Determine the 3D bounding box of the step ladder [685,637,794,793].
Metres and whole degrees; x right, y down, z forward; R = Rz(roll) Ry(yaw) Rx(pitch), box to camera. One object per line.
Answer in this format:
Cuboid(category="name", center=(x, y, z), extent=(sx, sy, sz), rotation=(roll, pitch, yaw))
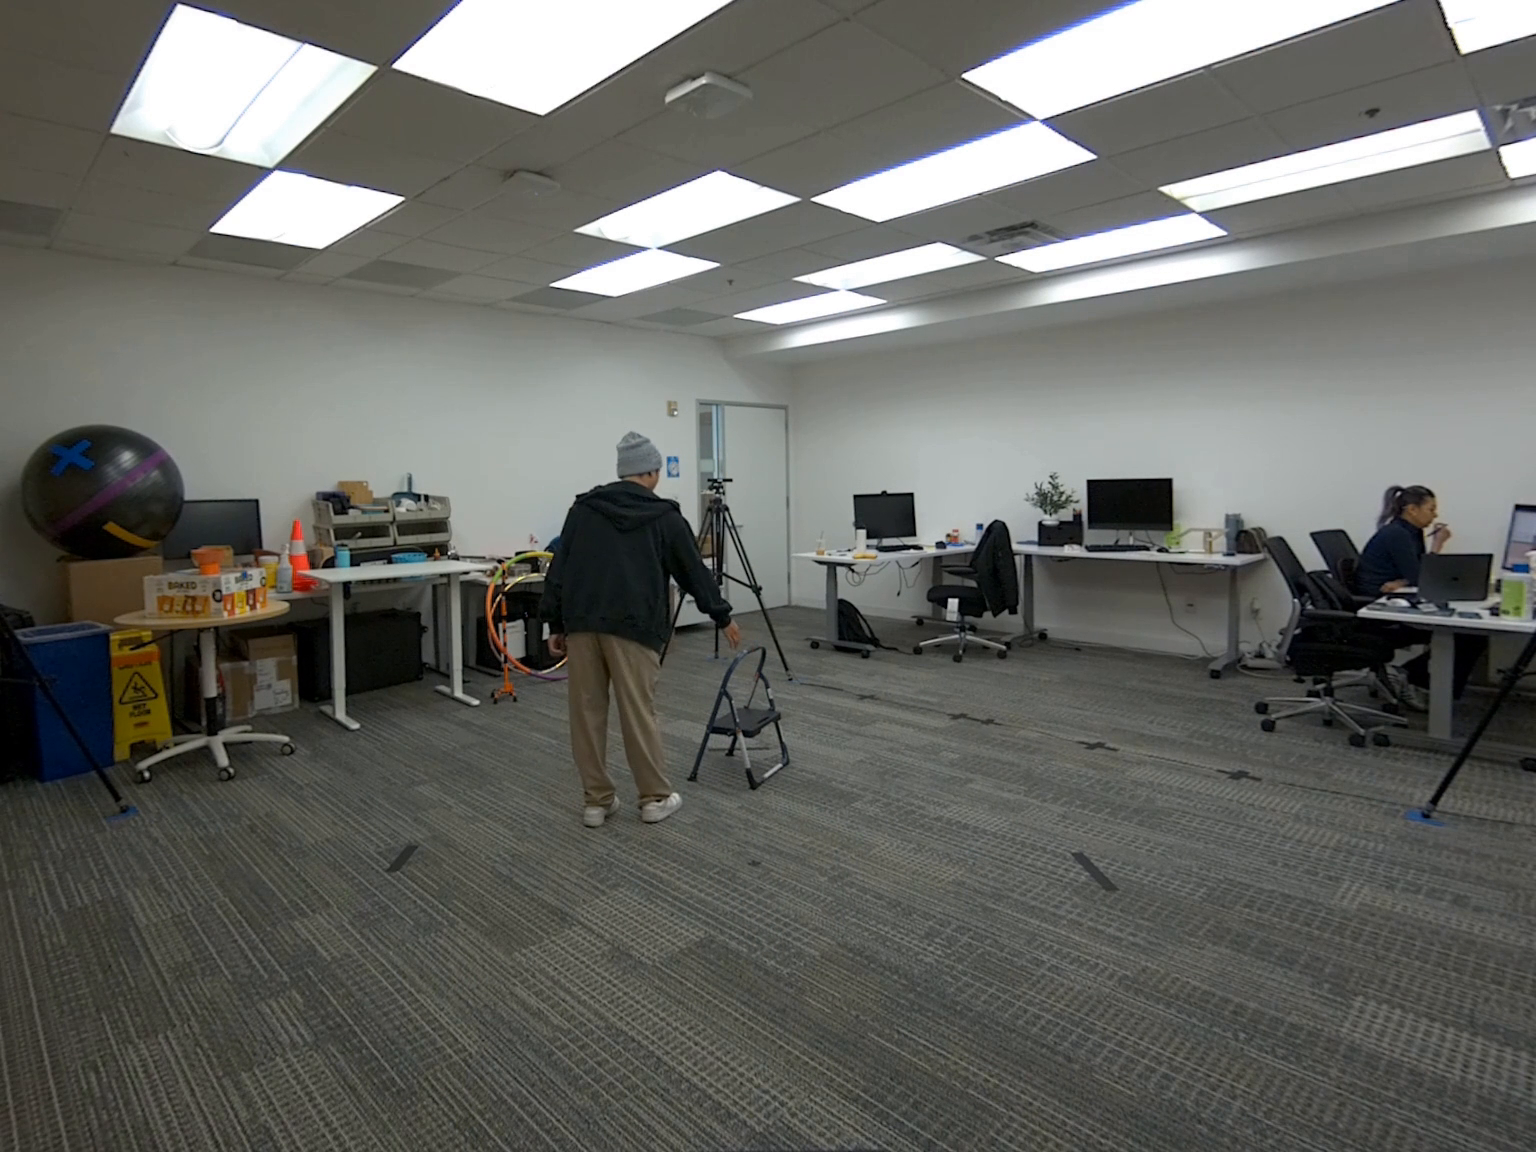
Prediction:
Cuboid(category="step ladder", center=(-0.130, 0.637, 4.084), extent=(0.357, 0.604, 0.422), rotation=(0, 5, 25))
